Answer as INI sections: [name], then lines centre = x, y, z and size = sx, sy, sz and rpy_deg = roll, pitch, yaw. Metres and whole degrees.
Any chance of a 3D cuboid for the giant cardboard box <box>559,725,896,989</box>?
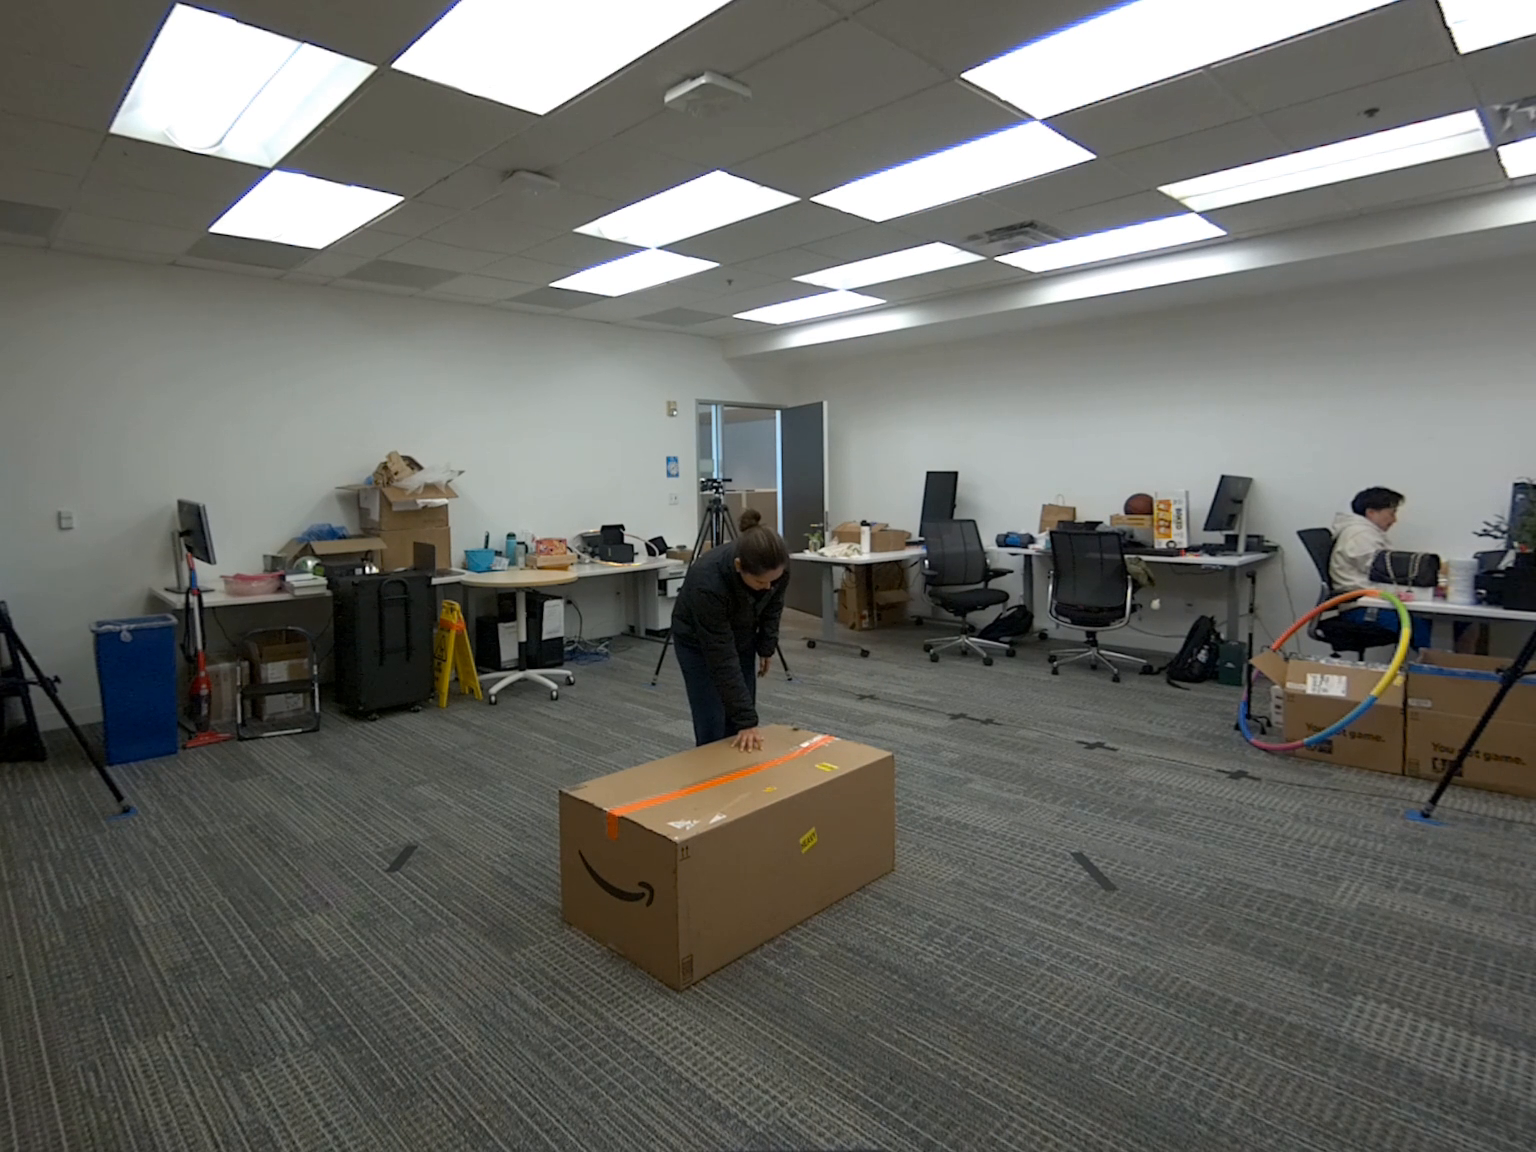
[giant cardboard box]
centre = -0.107, 0.863, 2.885
size = 0.601, 0.445, 1.001
rpy_deg = 2, 7, 44
